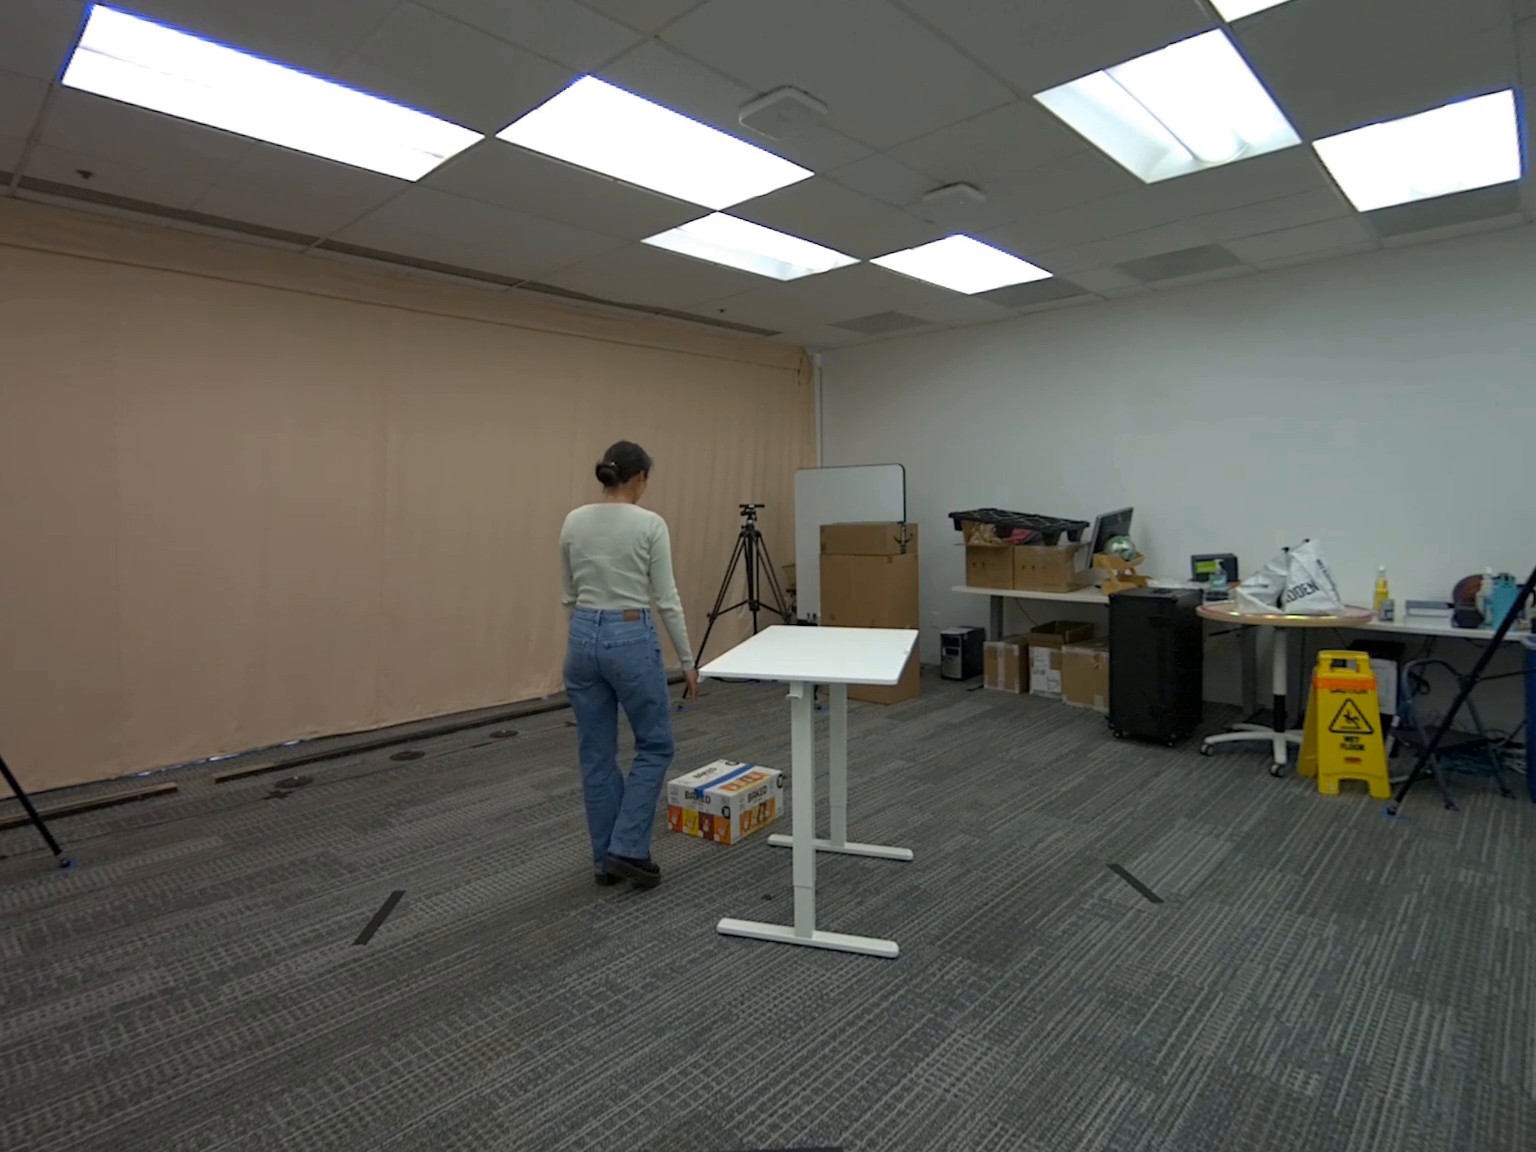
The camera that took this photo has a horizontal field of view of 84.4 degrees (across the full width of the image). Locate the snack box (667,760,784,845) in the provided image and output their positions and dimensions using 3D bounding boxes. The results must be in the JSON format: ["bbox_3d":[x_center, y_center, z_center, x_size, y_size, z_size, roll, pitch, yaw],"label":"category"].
[{"bbox_3d":[-0.183,0.983,3.699,0.351,0.205,0.394,2,5,34],"label":"snack box"}]
